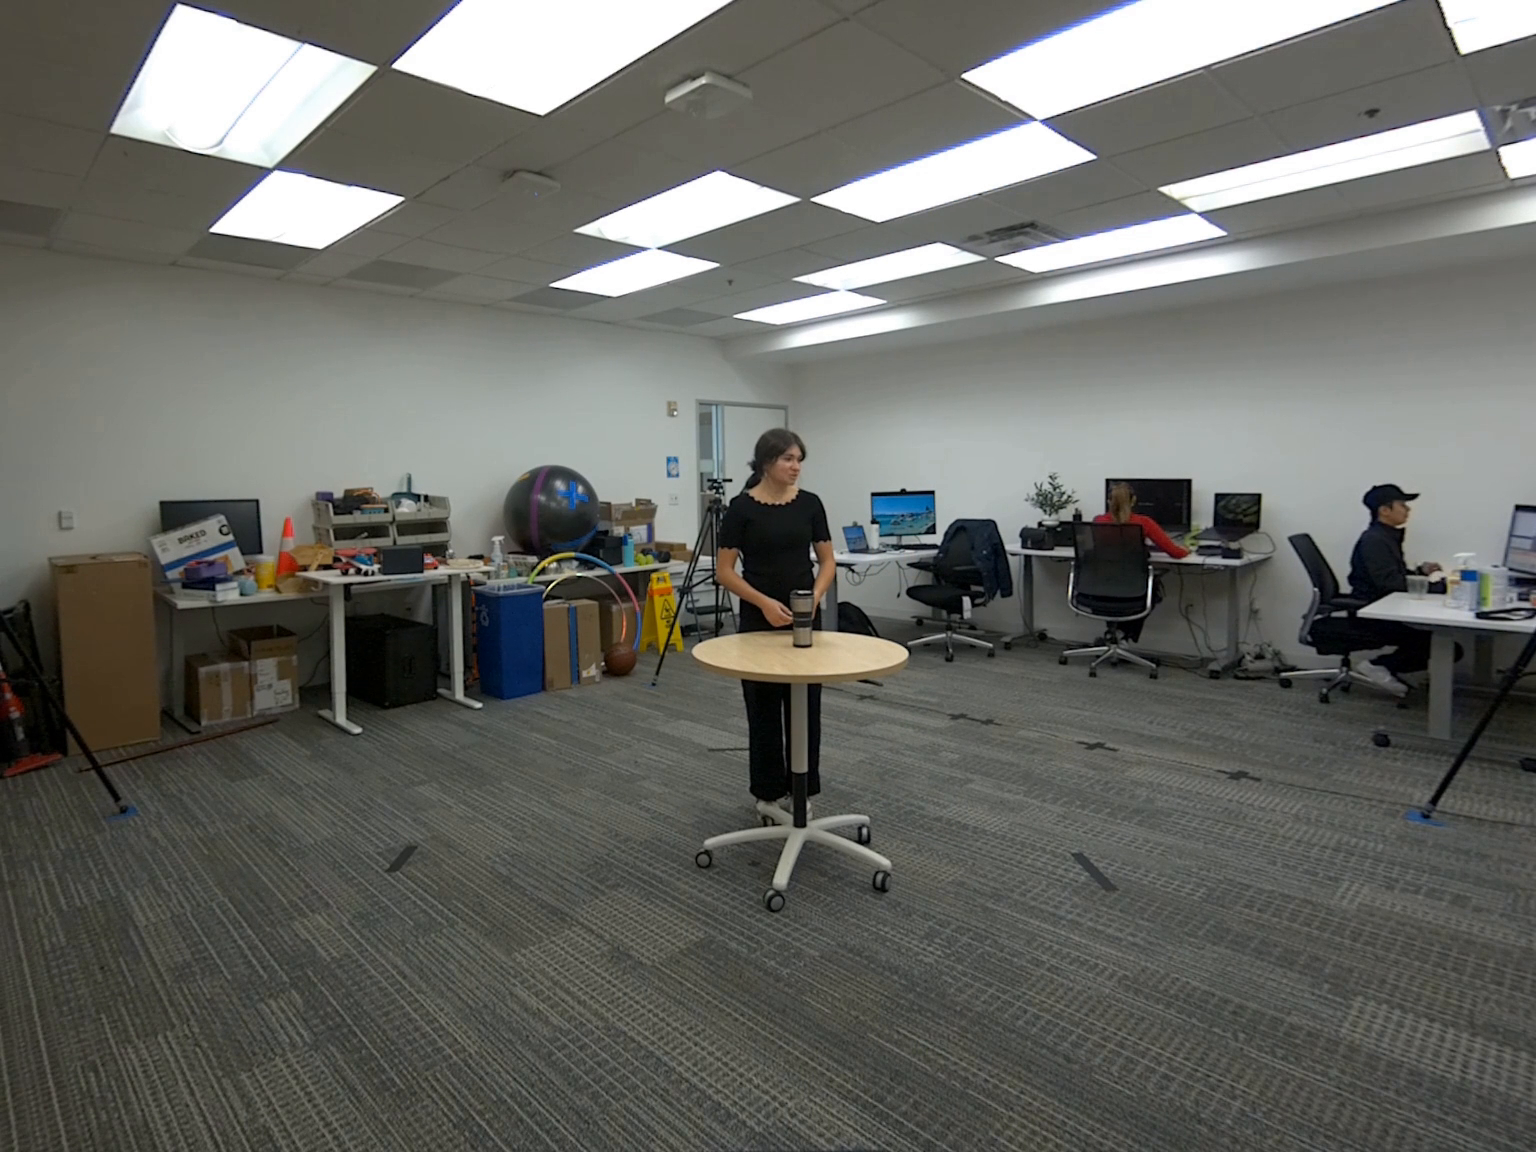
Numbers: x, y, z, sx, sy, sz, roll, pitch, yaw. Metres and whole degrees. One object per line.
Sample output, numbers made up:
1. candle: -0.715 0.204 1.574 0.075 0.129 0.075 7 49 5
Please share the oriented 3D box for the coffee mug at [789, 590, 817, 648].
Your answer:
1. coffee mug: 0.141 0.163 3.126 0.119 0.203 0.090 -4 0 -42
